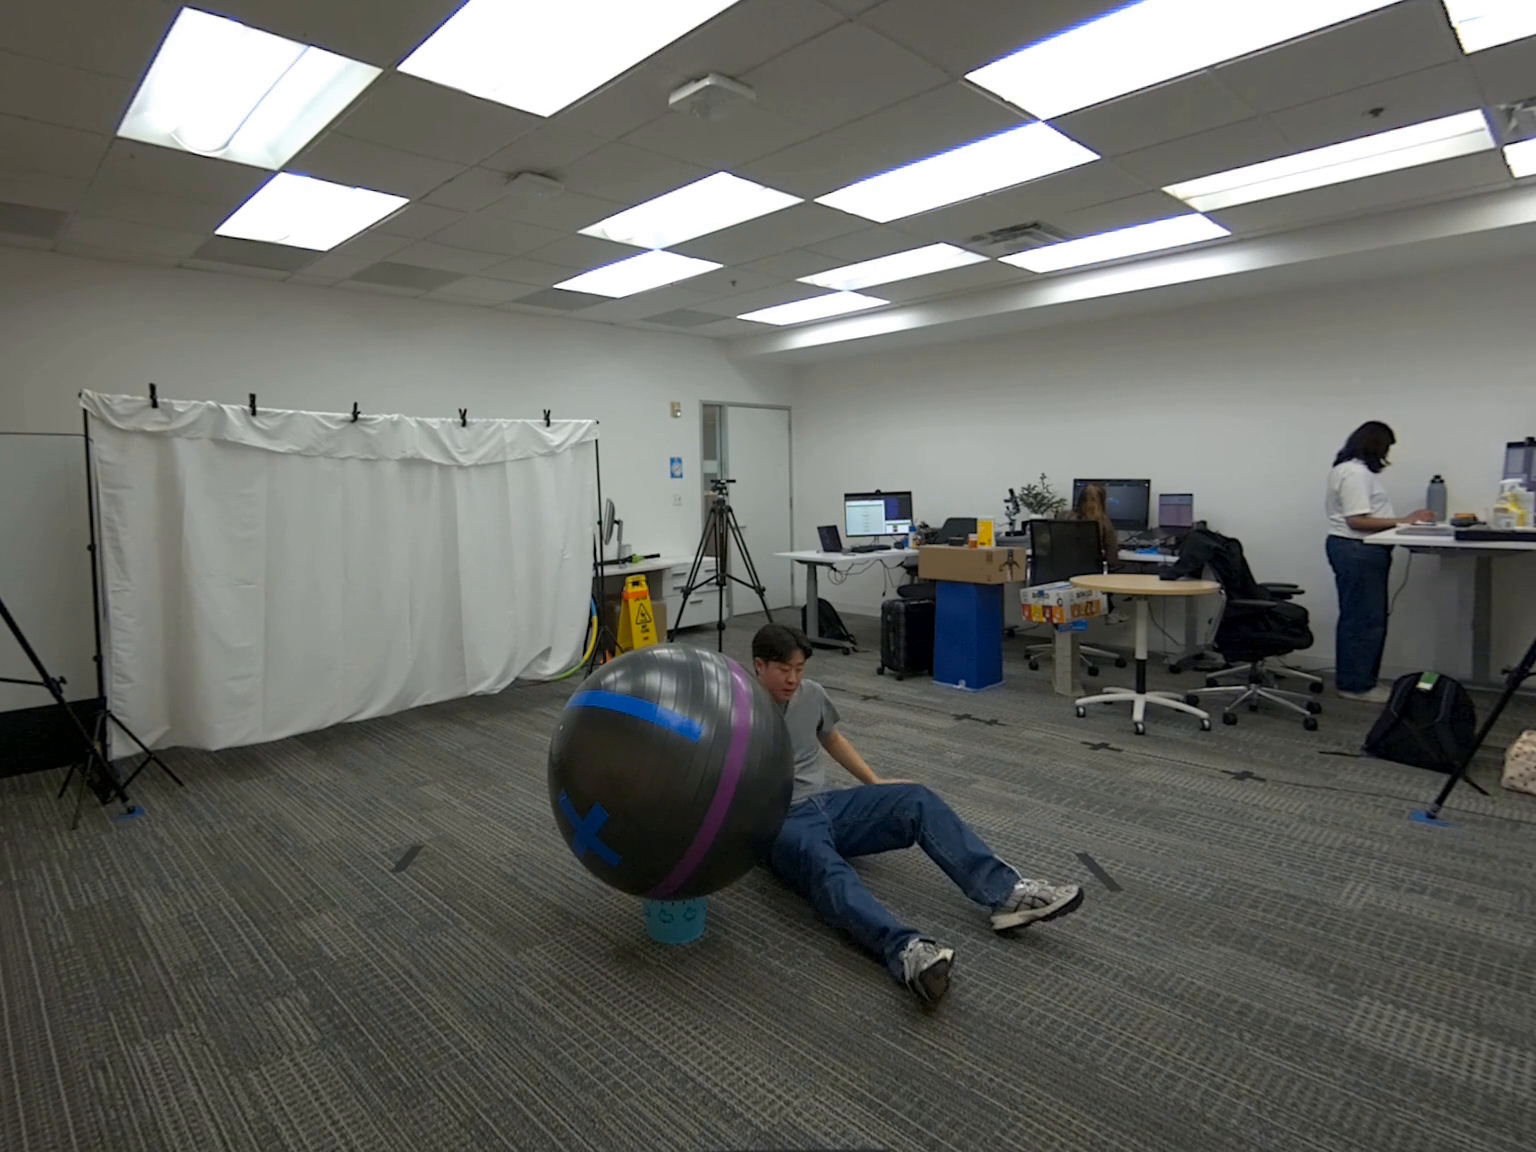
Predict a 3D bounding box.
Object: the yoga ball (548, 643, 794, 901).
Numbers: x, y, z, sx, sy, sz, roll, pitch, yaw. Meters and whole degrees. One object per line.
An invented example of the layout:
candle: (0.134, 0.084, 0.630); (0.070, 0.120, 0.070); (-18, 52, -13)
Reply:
yoga ball: (-0.288, 0.596, 2.636); (0.757, 0.755, 0.762); (-1, 5, -2)
